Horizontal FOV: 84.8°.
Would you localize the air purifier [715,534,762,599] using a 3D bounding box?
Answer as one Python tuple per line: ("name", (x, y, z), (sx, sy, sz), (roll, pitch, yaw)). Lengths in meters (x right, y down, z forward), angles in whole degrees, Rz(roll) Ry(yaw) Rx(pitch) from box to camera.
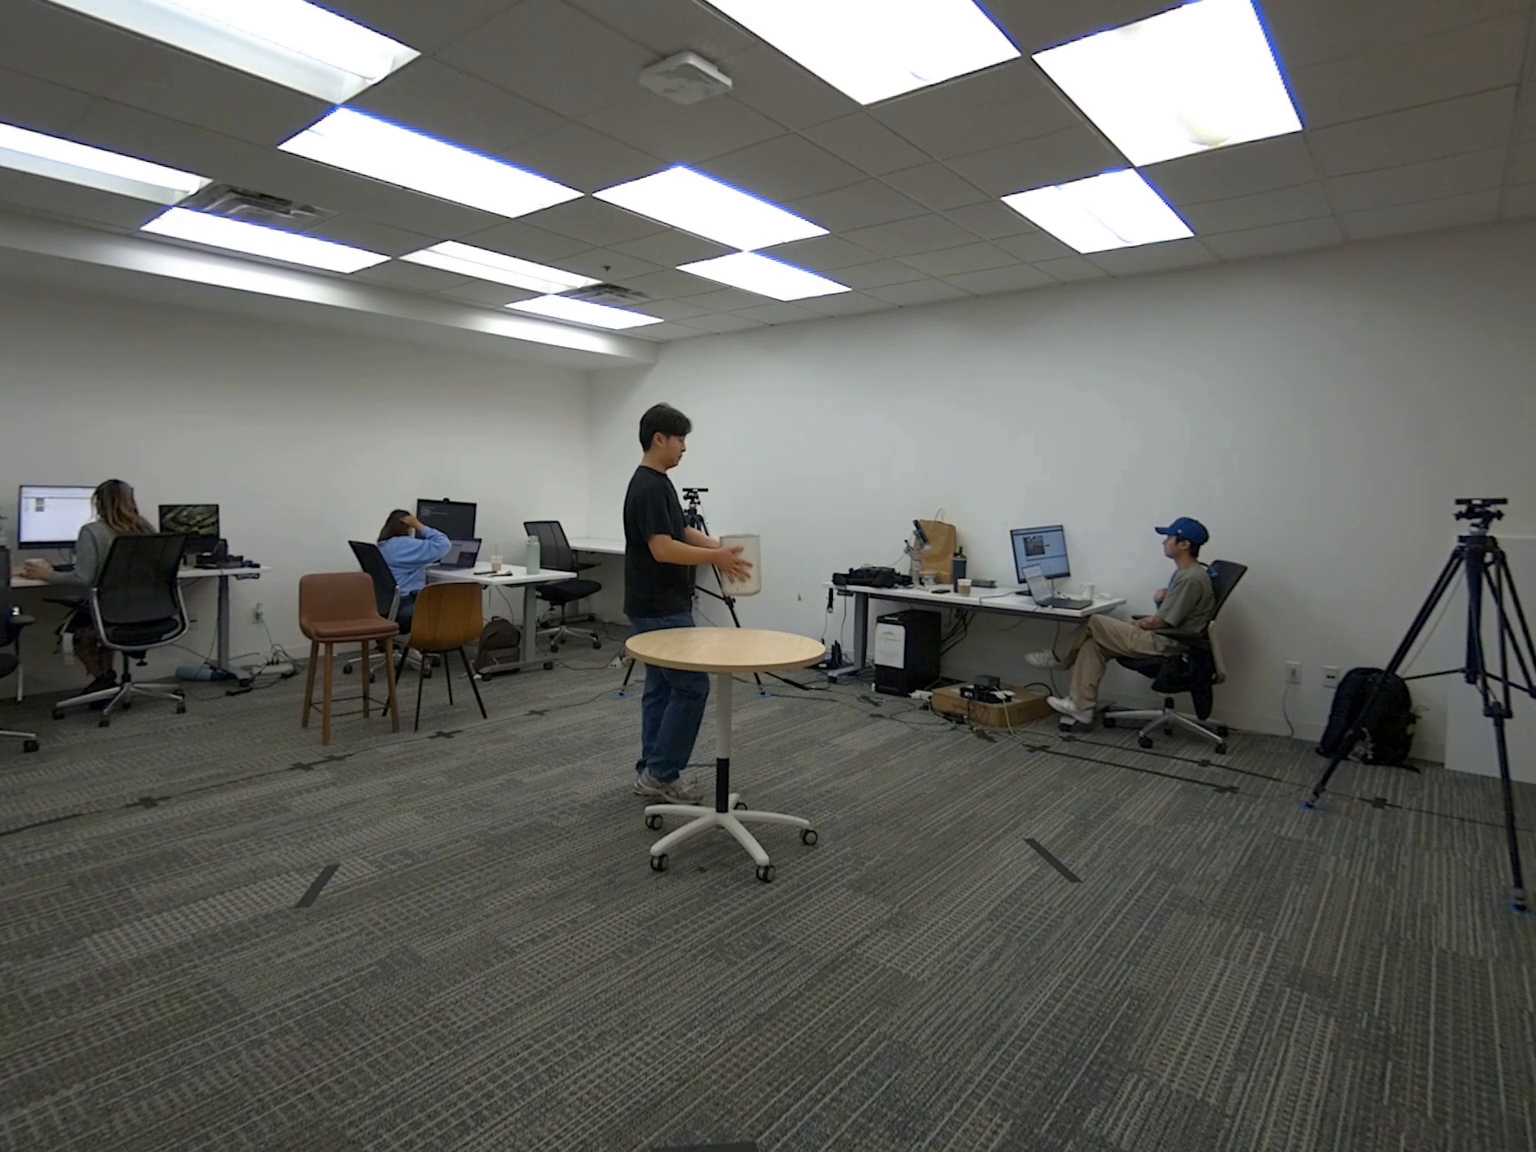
("air purifier", (-0.134, -0.047, 3.778), (0.173, 0.264, 0.170), (-2, 3, 9))
